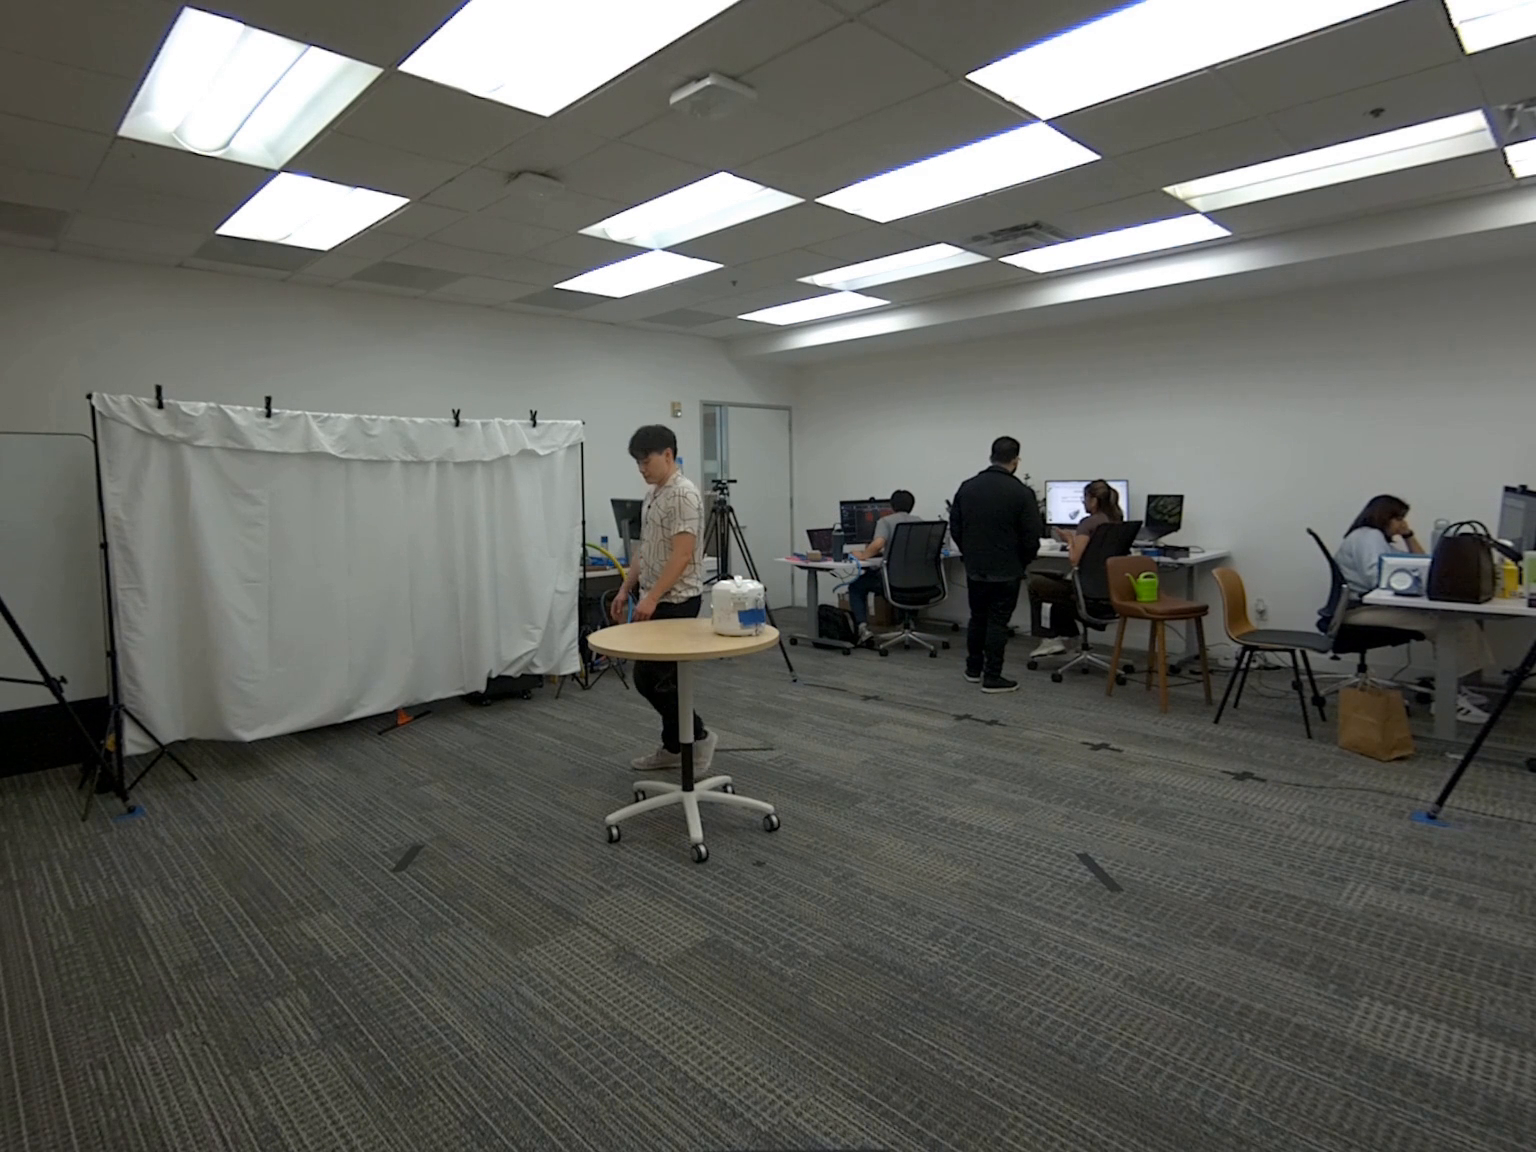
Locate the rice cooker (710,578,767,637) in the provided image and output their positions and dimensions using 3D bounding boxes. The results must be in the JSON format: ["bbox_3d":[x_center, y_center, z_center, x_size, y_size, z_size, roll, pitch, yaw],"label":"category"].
[{"bbox_3d":[-0.123,0.112,3.424,0.217,0.232,0.222,-1,5,-2],"label":"rice cooker"}]
